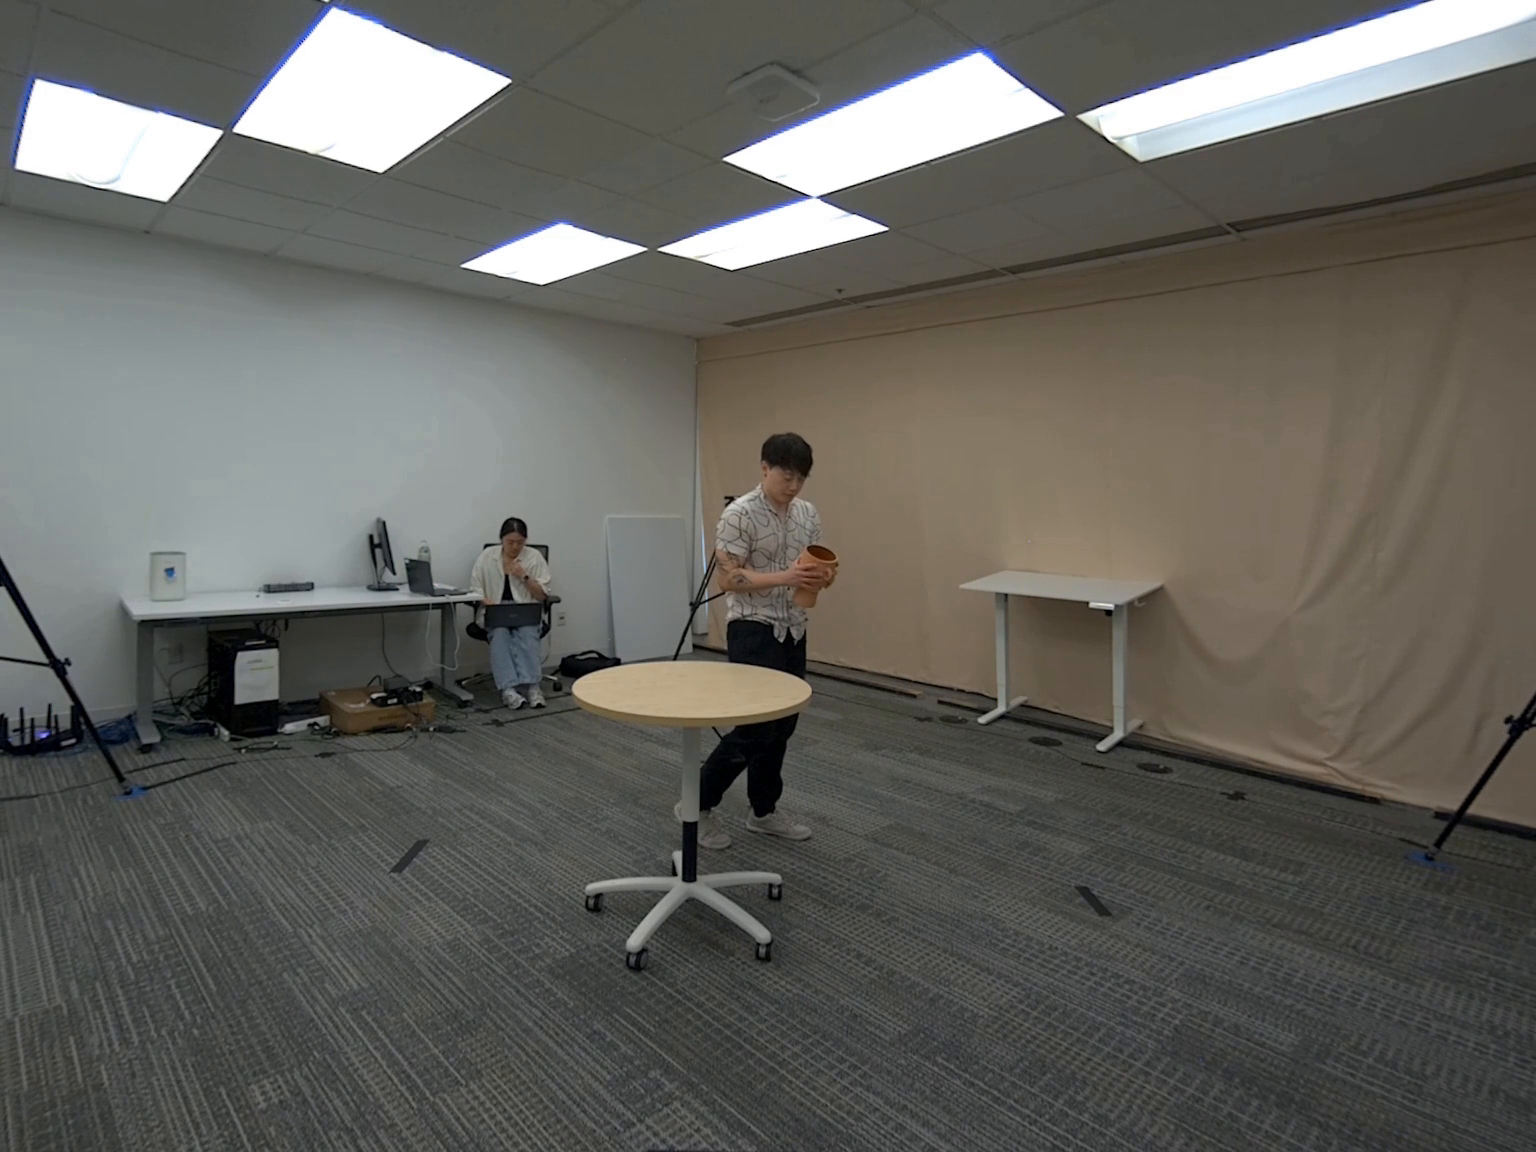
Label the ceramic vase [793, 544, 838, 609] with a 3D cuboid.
[{"bbox_3d":[0.147,0.004,3.218,0.134,0.217,0.161,18,26,-2],"label":"ceramic vase"}]
